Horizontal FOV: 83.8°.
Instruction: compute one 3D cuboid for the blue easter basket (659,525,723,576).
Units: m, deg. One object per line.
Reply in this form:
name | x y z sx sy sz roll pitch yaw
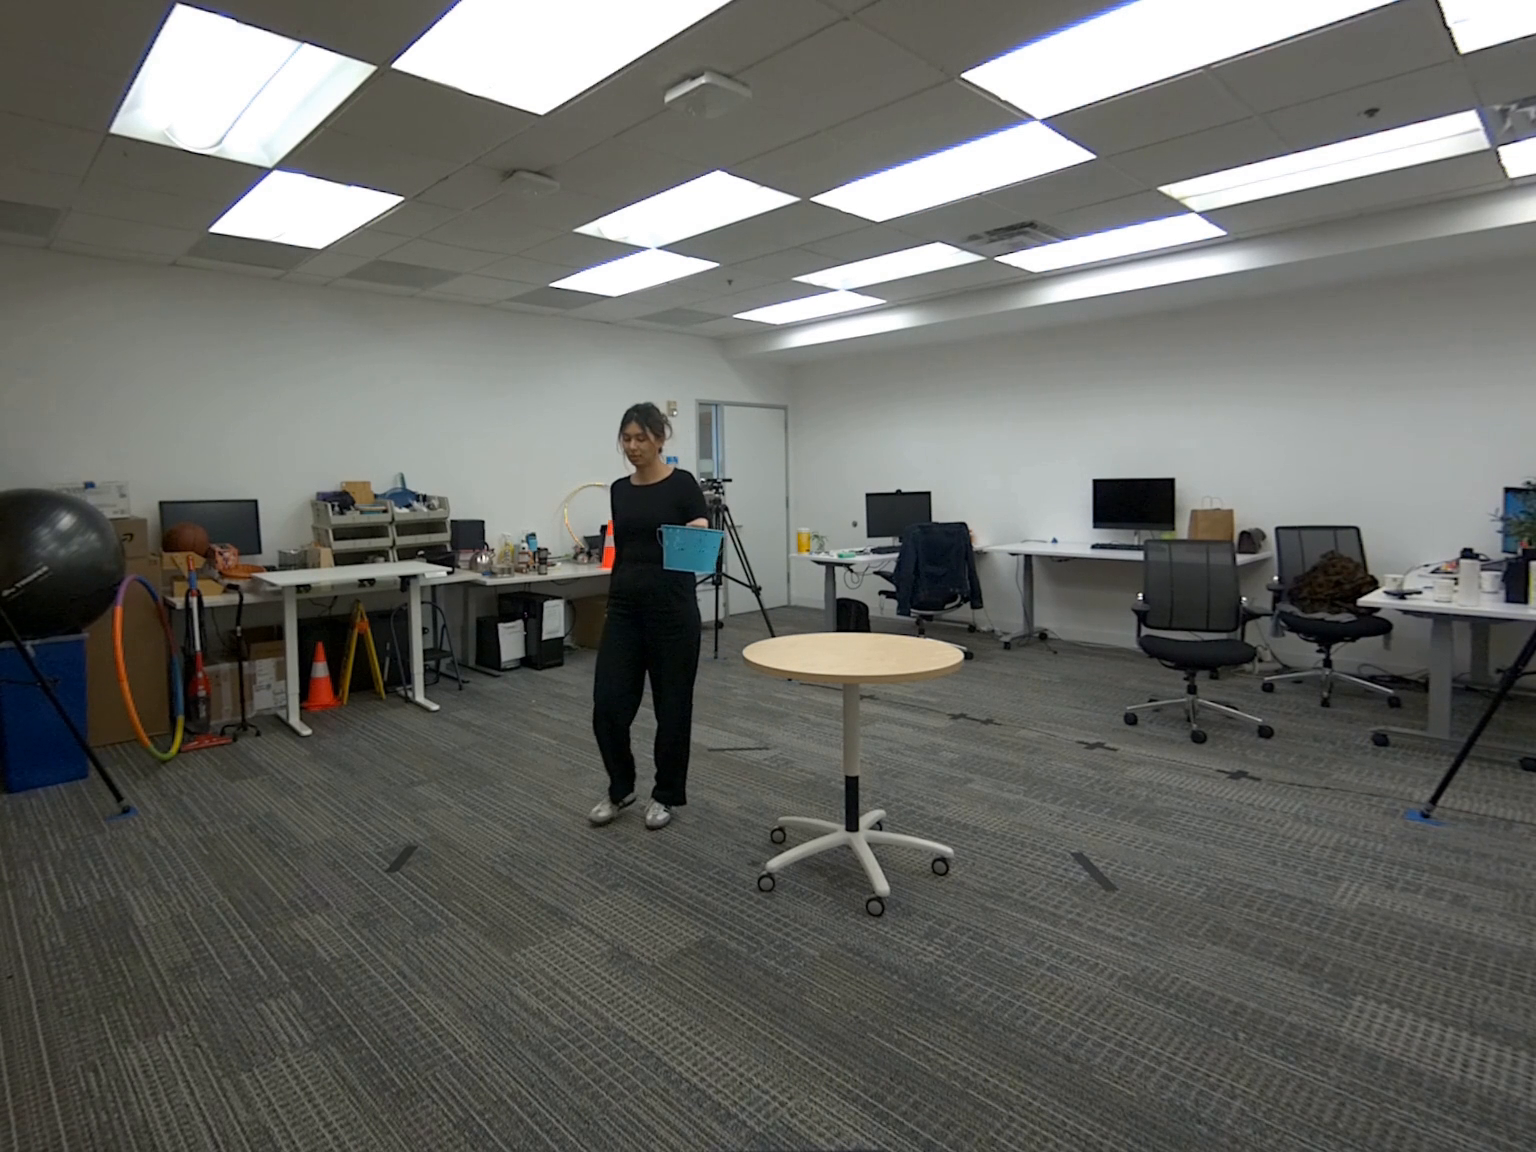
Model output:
blue easter basket | -0.283 -0.092 3.078 0.243 0.156 0.244 3 0 -2
